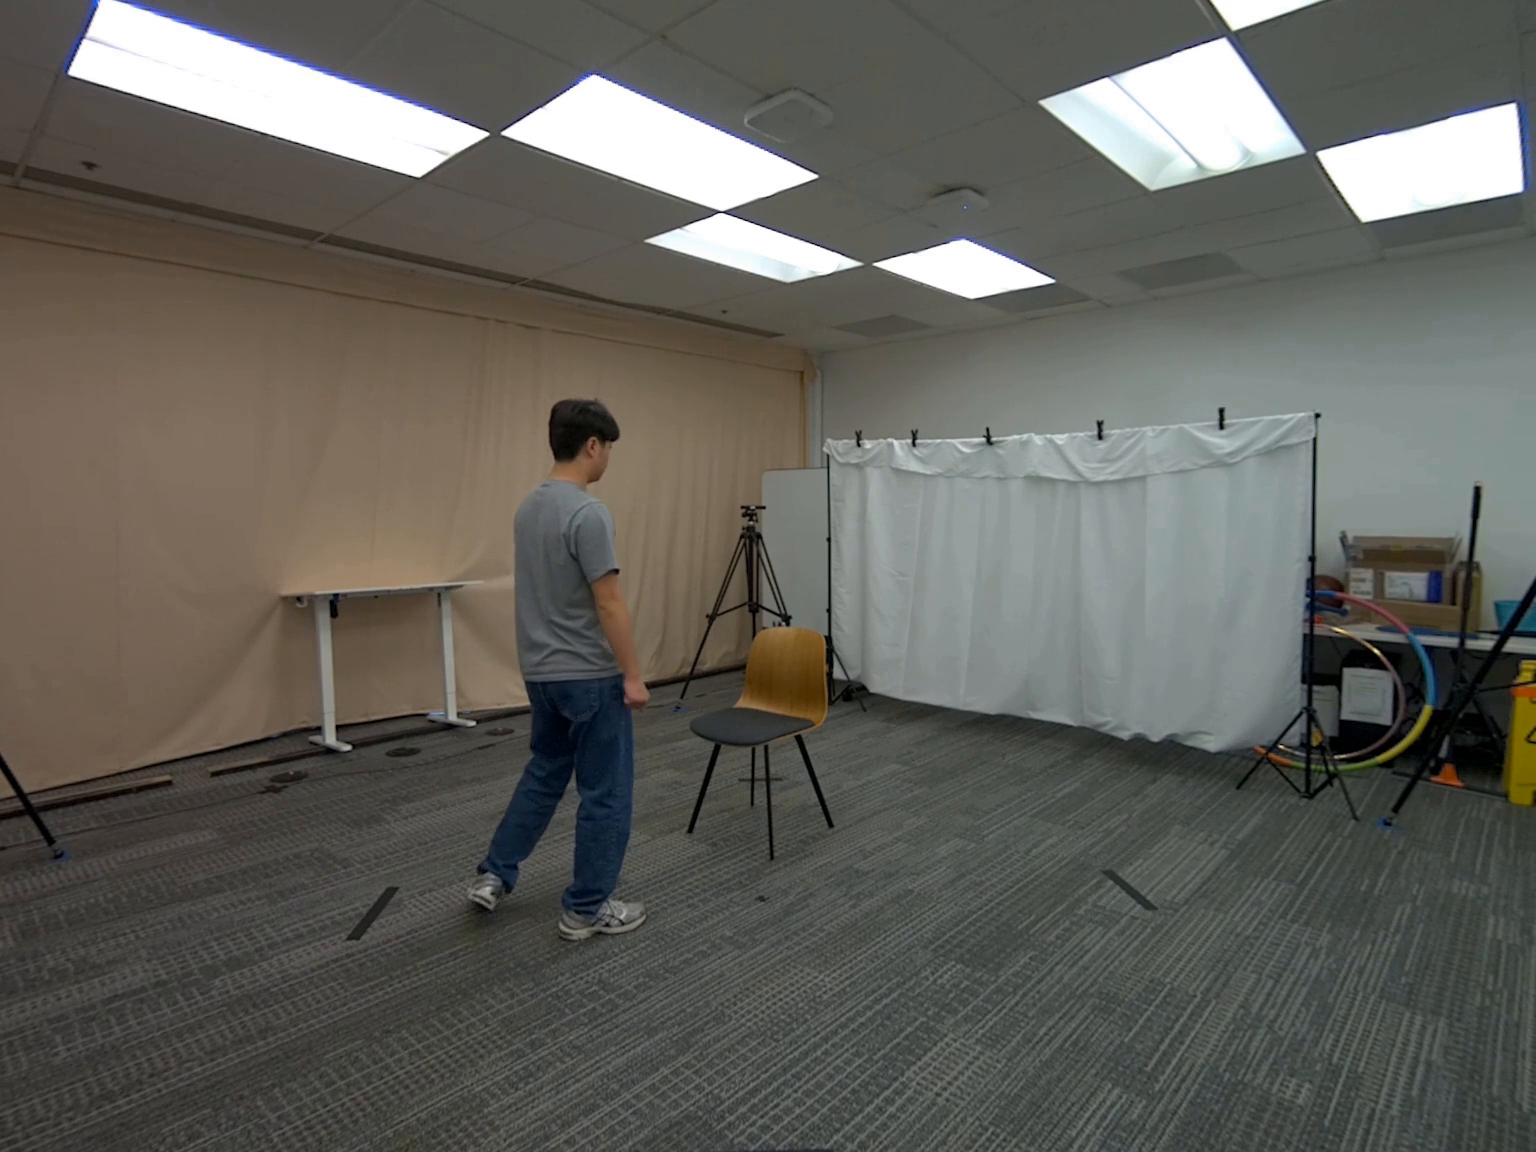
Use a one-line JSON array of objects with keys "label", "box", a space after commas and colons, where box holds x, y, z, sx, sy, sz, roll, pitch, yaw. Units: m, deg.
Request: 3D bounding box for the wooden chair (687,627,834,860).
[{"label": "wooden chair", "box": [-0.033, 0.666, 3.583, 0.493, 0.878, 0.506, 2, -1, 38]}]
